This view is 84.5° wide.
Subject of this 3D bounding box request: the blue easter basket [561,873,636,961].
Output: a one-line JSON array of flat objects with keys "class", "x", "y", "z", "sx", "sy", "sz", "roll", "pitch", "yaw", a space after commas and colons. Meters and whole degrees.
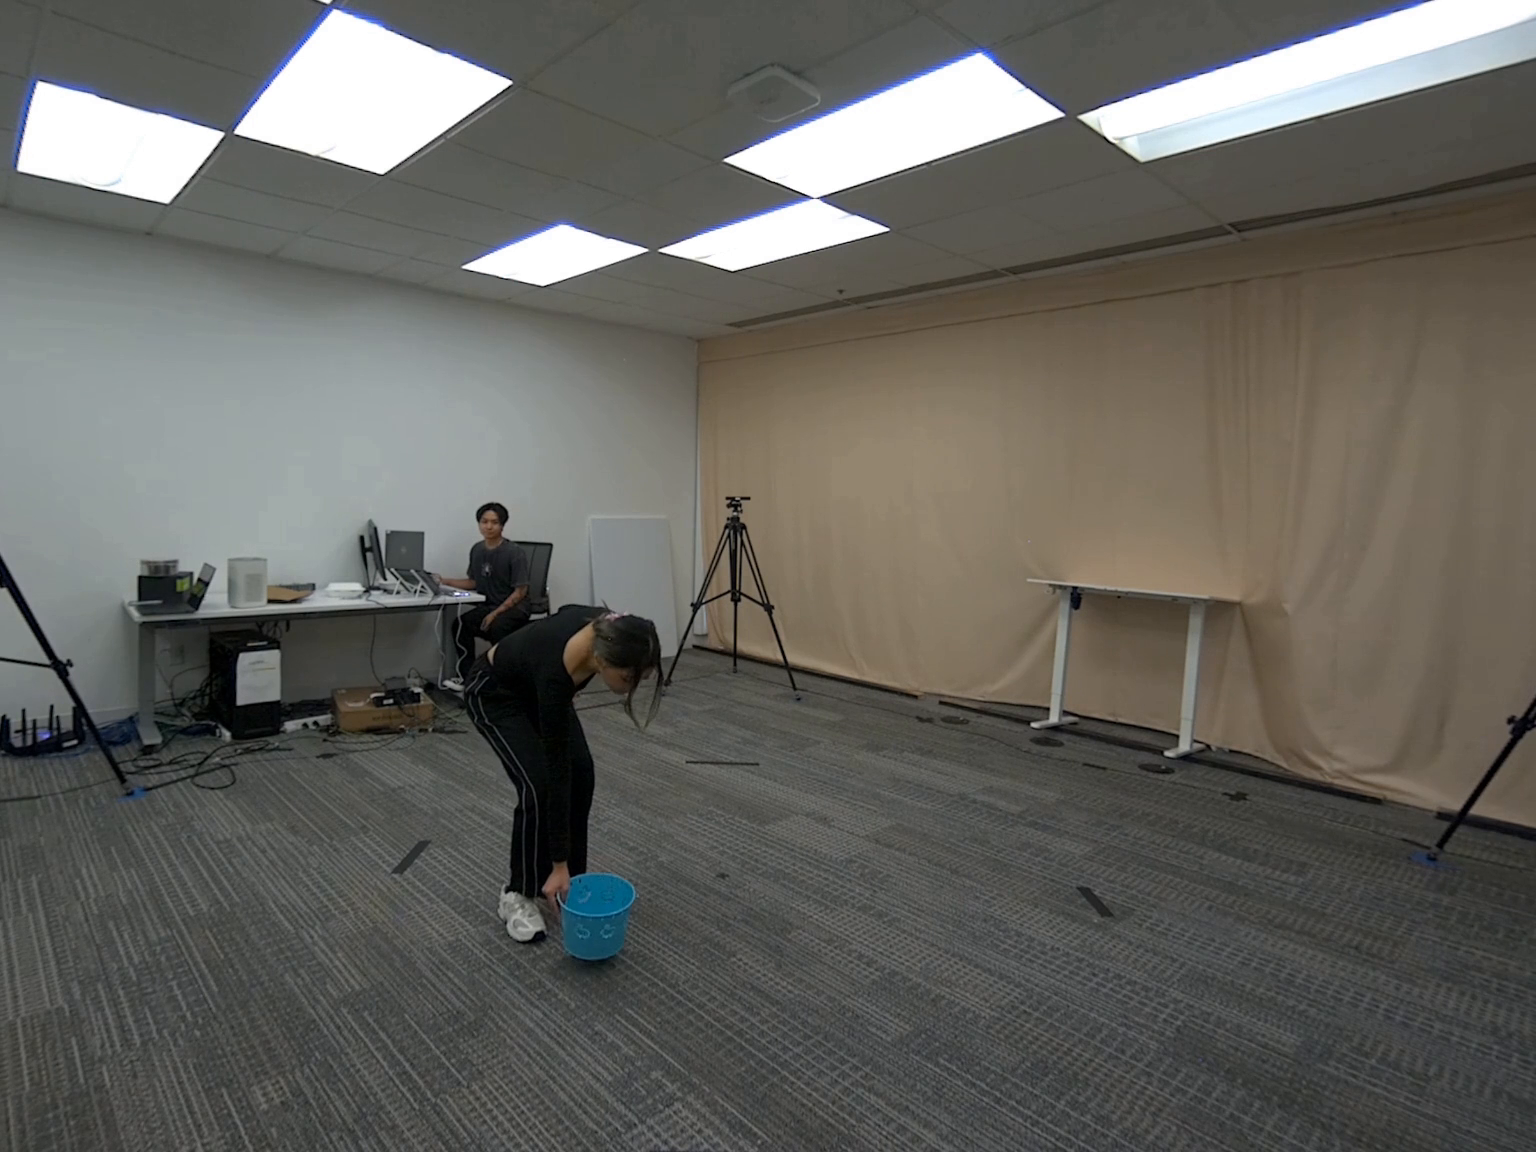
[{"class": "blue easter basket", "x": -0.532, "y": 1.016, "z": 2.494, "sx": 0.243, "sy": 0.155, "sz": 0.245, "roll": 2, "pitch": 8, "yaw": -2}]
